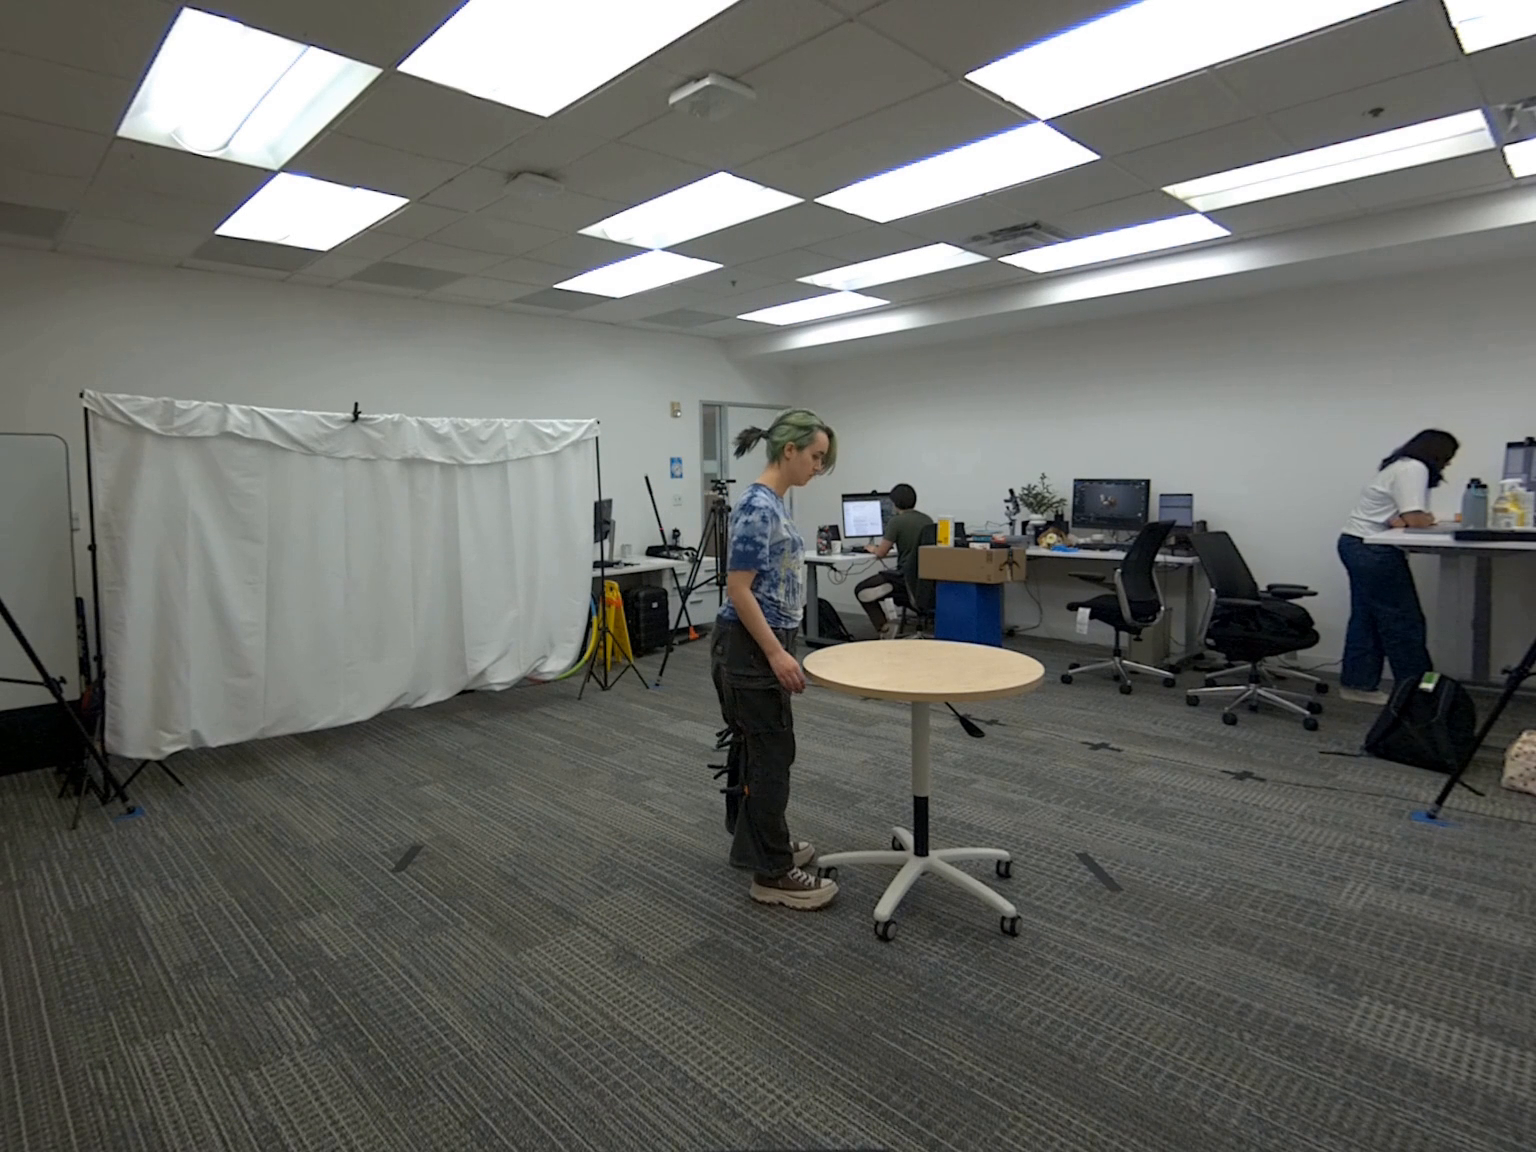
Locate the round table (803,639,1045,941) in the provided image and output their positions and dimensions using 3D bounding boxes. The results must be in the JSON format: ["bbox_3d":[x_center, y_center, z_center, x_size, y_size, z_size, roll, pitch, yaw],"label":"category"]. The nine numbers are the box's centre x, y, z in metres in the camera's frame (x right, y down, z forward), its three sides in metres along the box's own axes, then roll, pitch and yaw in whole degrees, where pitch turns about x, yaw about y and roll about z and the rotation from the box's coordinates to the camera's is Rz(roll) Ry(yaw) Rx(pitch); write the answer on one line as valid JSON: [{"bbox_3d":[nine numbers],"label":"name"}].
[{"bbox_3d":[0.494,0.673,2.817,0.784,0.783,0.789,-1,5,-2],"label":"round table"}]
